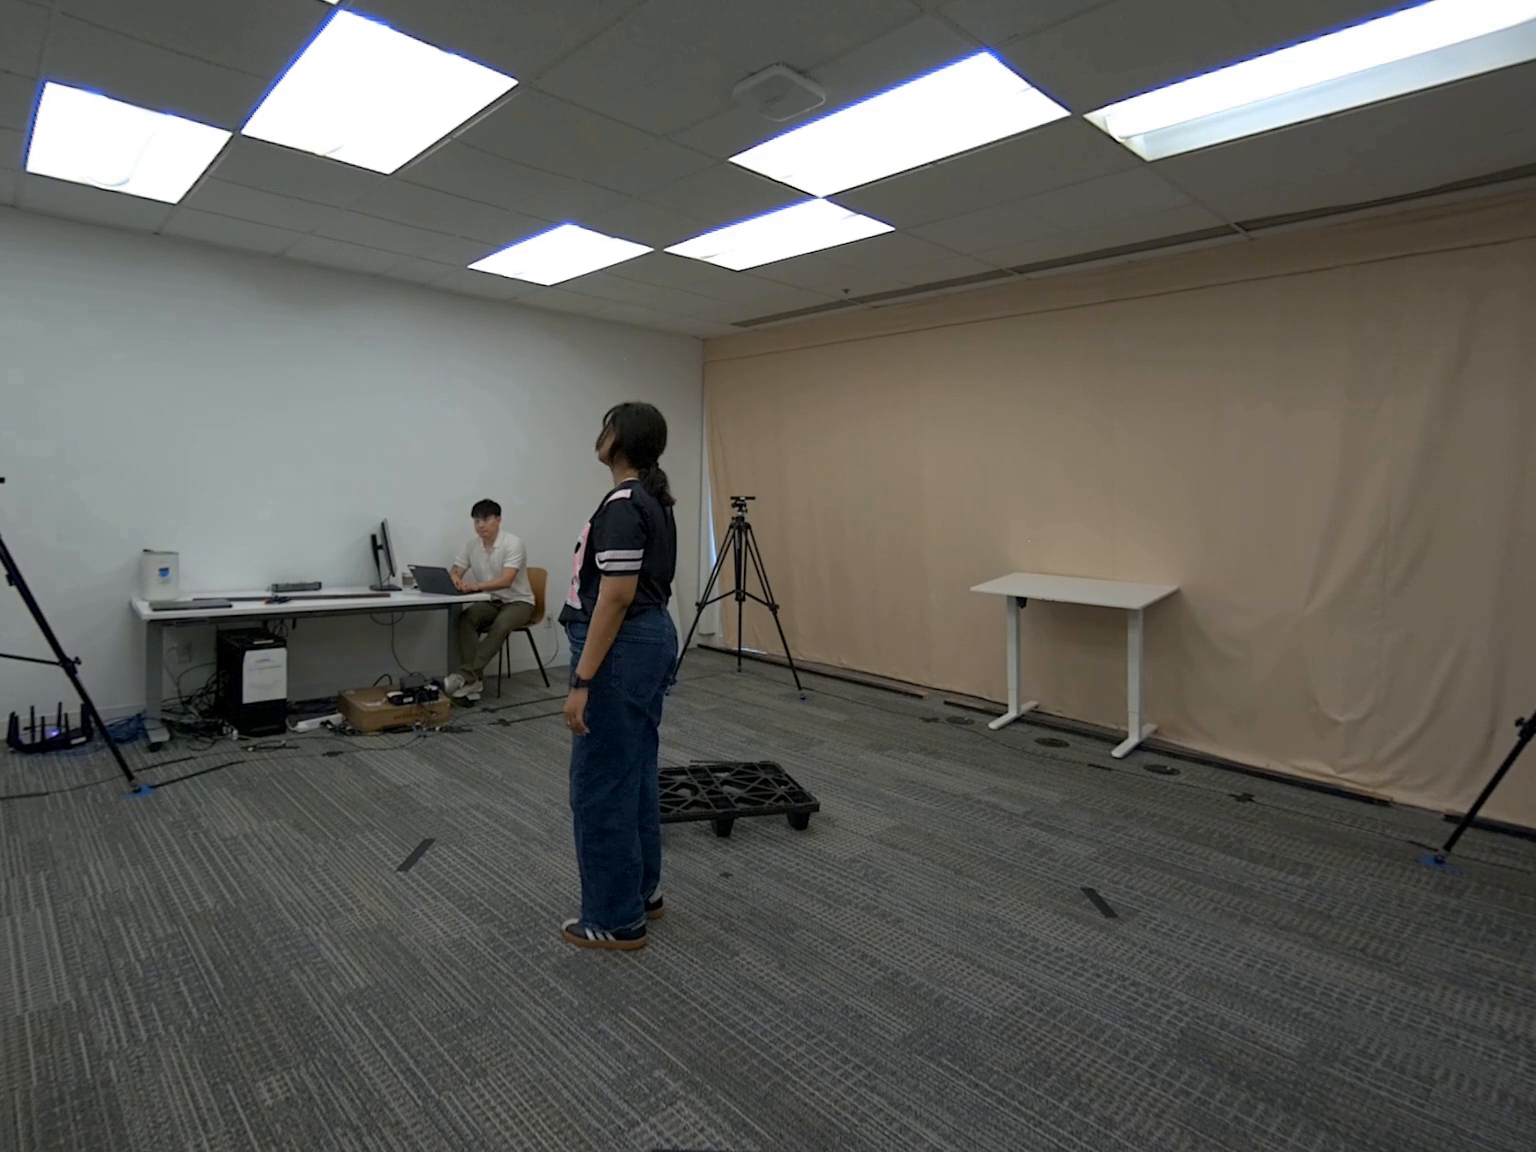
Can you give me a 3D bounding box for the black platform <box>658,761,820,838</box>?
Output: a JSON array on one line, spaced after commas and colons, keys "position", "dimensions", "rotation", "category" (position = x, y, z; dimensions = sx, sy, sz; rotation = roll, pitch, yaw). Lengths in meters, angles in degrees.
[{"position": [-0.257, 0.983, 3.674], "dimensions": [0.795, 0.143, 0.615], "rotation": [0, 6, -17], "category": "black platform"}]
